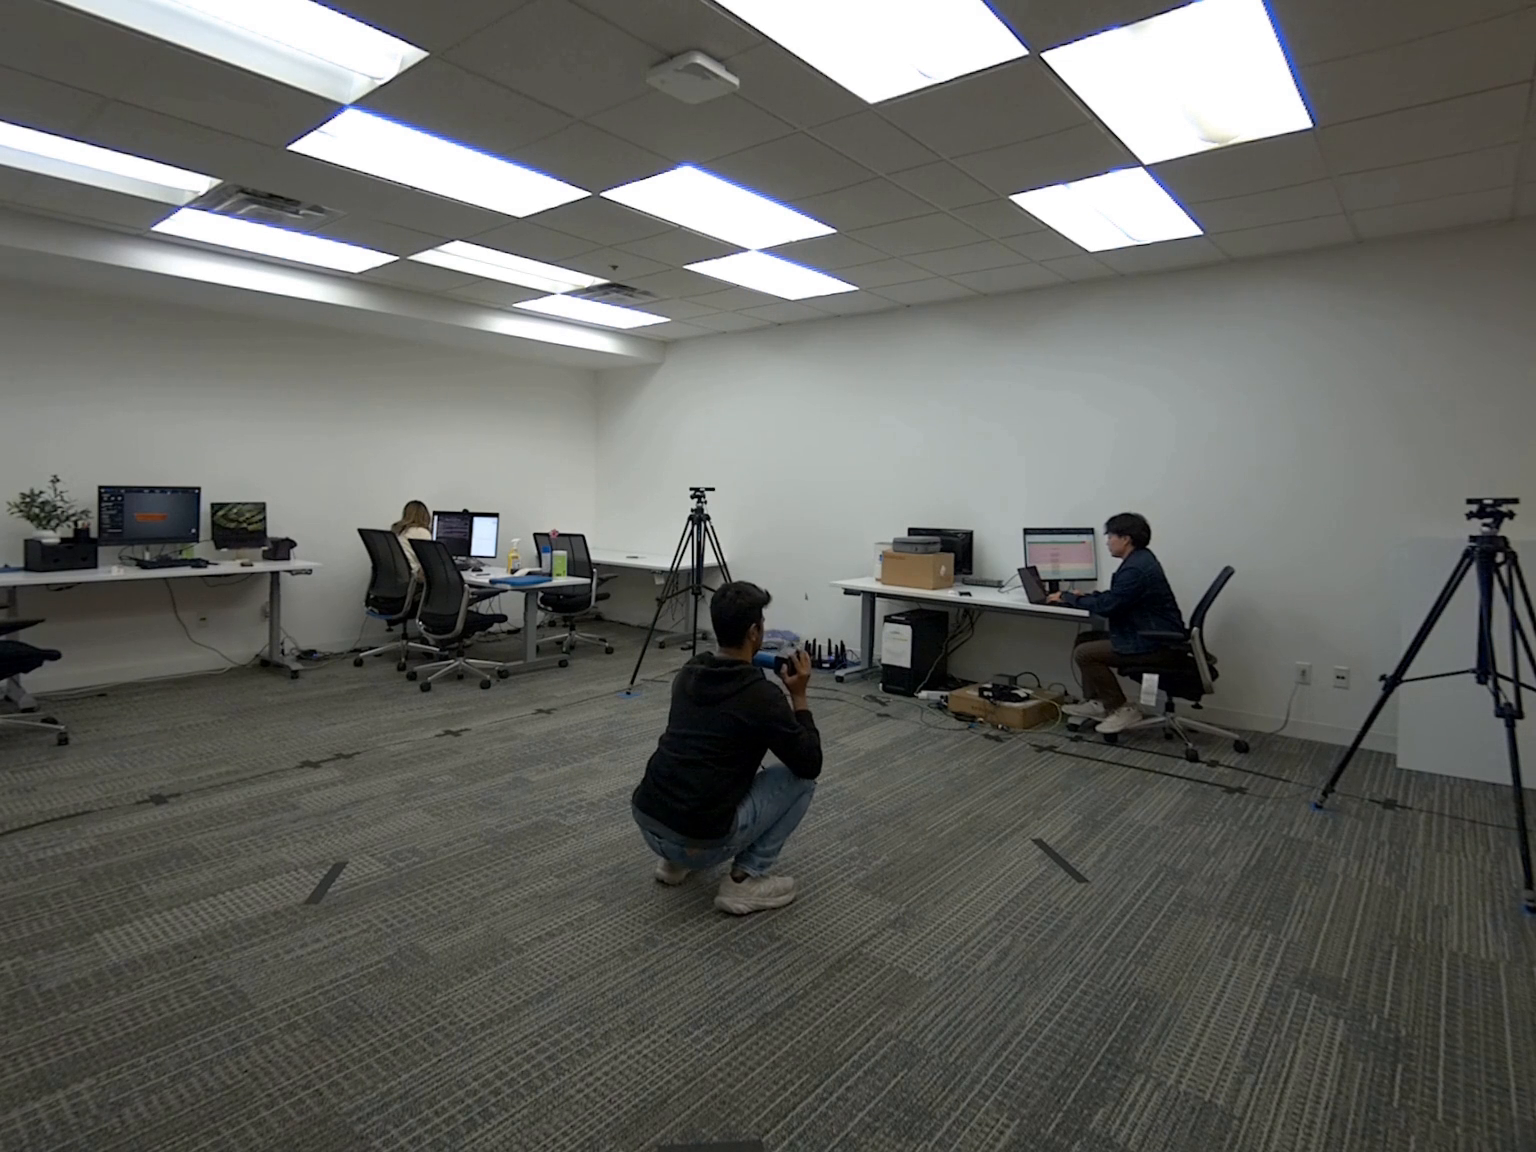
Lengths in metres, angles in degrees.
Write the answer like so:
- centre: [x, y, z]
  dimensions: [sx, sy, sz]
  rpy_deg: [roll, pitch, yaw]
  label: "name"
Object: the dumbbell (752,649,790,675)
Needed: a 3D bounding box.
- centre: [-0.013, 0.299, 3.123]
  dimensions: [0.303, 0.123, 0.105]
  rpy_deg: [4, 1, 43]
  label: "dumbbell"
